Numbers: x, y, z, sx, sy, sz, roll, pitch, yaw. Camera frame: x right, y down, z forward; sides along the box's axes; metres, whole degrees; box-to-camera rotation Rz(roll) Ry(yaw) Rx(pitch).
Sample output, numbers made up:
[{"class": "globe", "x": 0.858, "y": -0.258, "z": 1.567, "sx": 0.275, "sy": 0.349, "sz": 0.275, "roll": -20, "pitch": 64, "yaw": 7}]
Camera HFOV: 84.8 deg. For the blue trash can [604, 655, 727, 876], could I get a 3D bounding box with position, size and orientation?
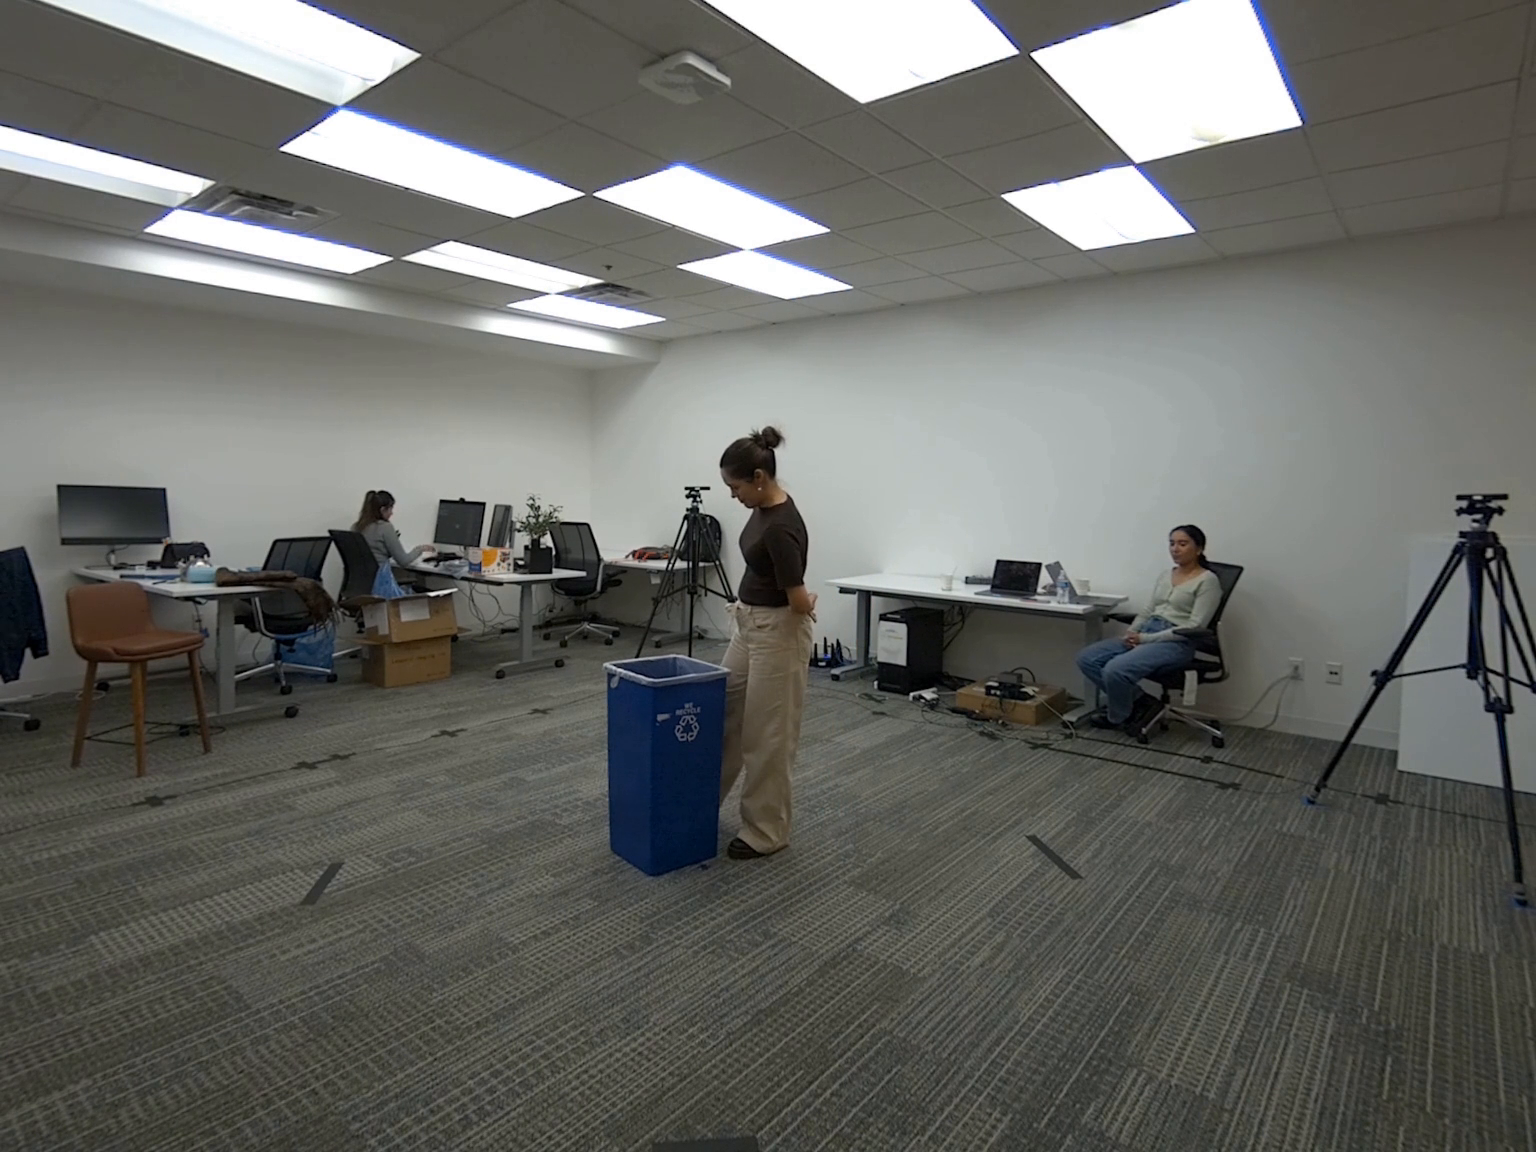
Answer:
[{"class": "blue trash can", "x": -0.396, "y": 0.695, "z": 3.214, "sx": 0.366, "sy": 0.712, "sz": 0.386, "roll": -1, "pitch": 4, "yaw": -40}]
